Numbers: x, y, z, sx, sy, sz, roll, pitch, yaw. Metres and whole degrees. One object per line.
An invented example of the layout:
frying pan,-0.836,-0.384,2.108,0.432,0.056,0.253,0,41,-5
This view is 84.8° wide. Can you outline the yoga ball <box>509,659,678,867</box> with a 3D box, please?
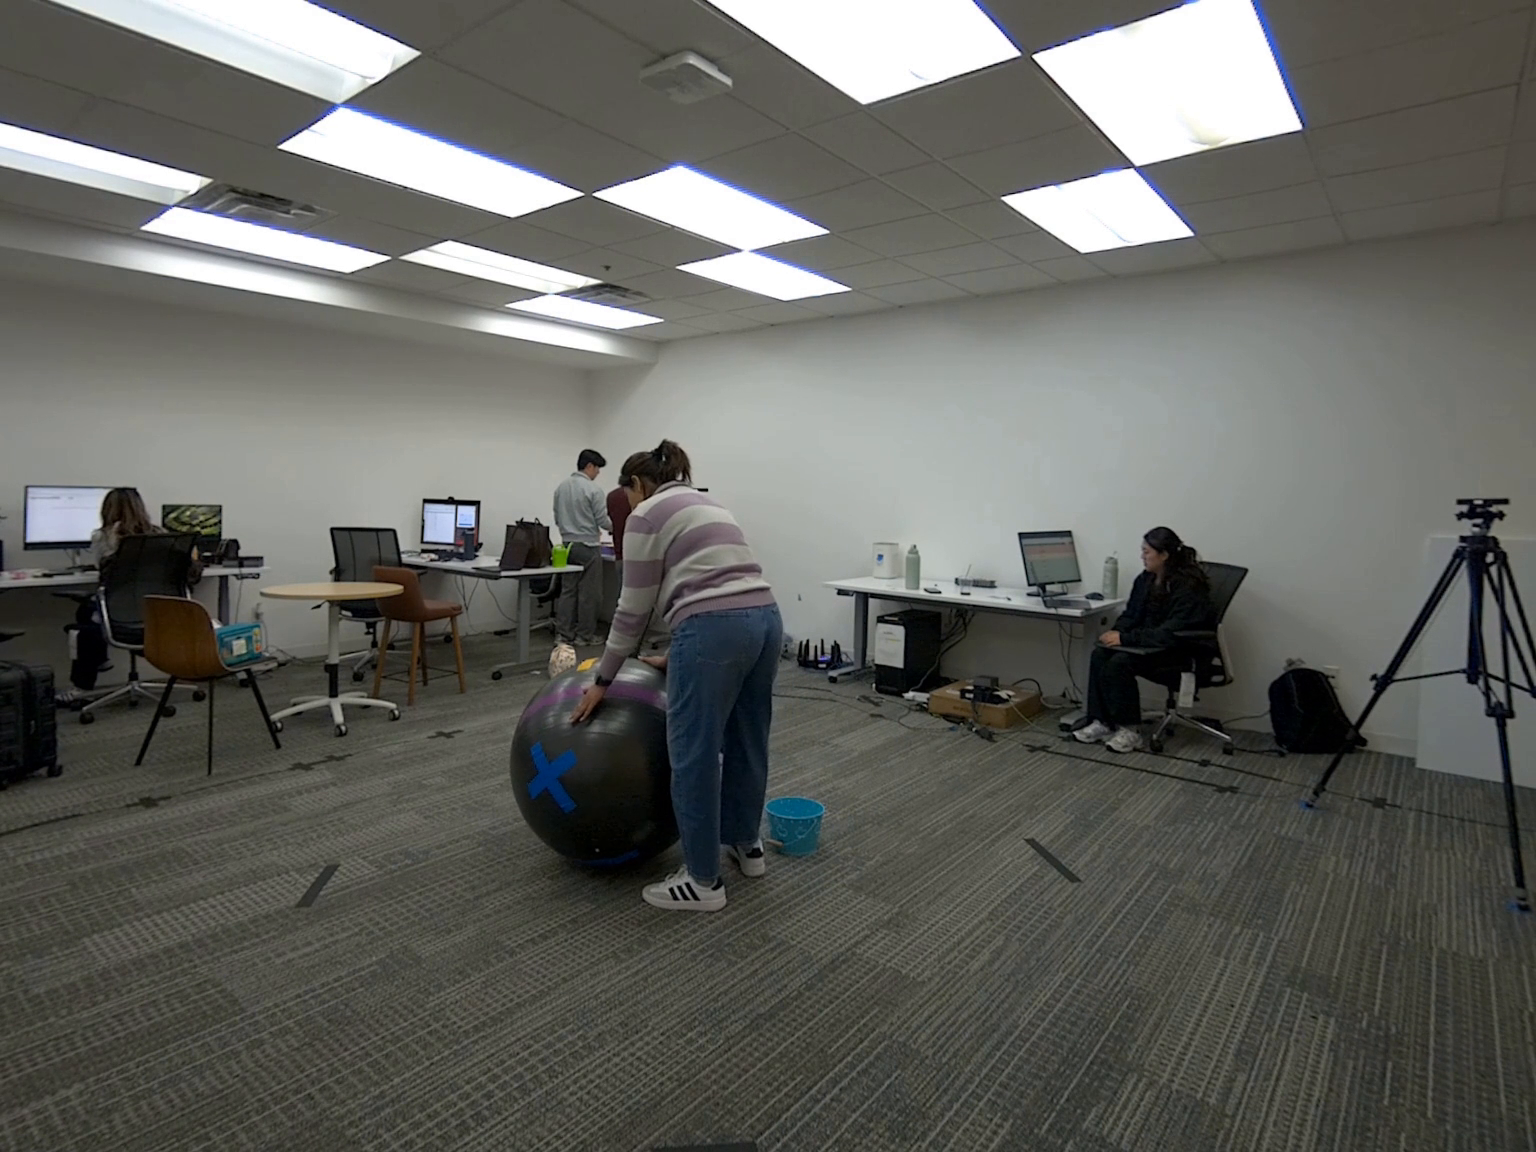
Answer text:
yoga ball,-0.598,0.688,3.186,0.757,0.756,0.762,1,4,-2
